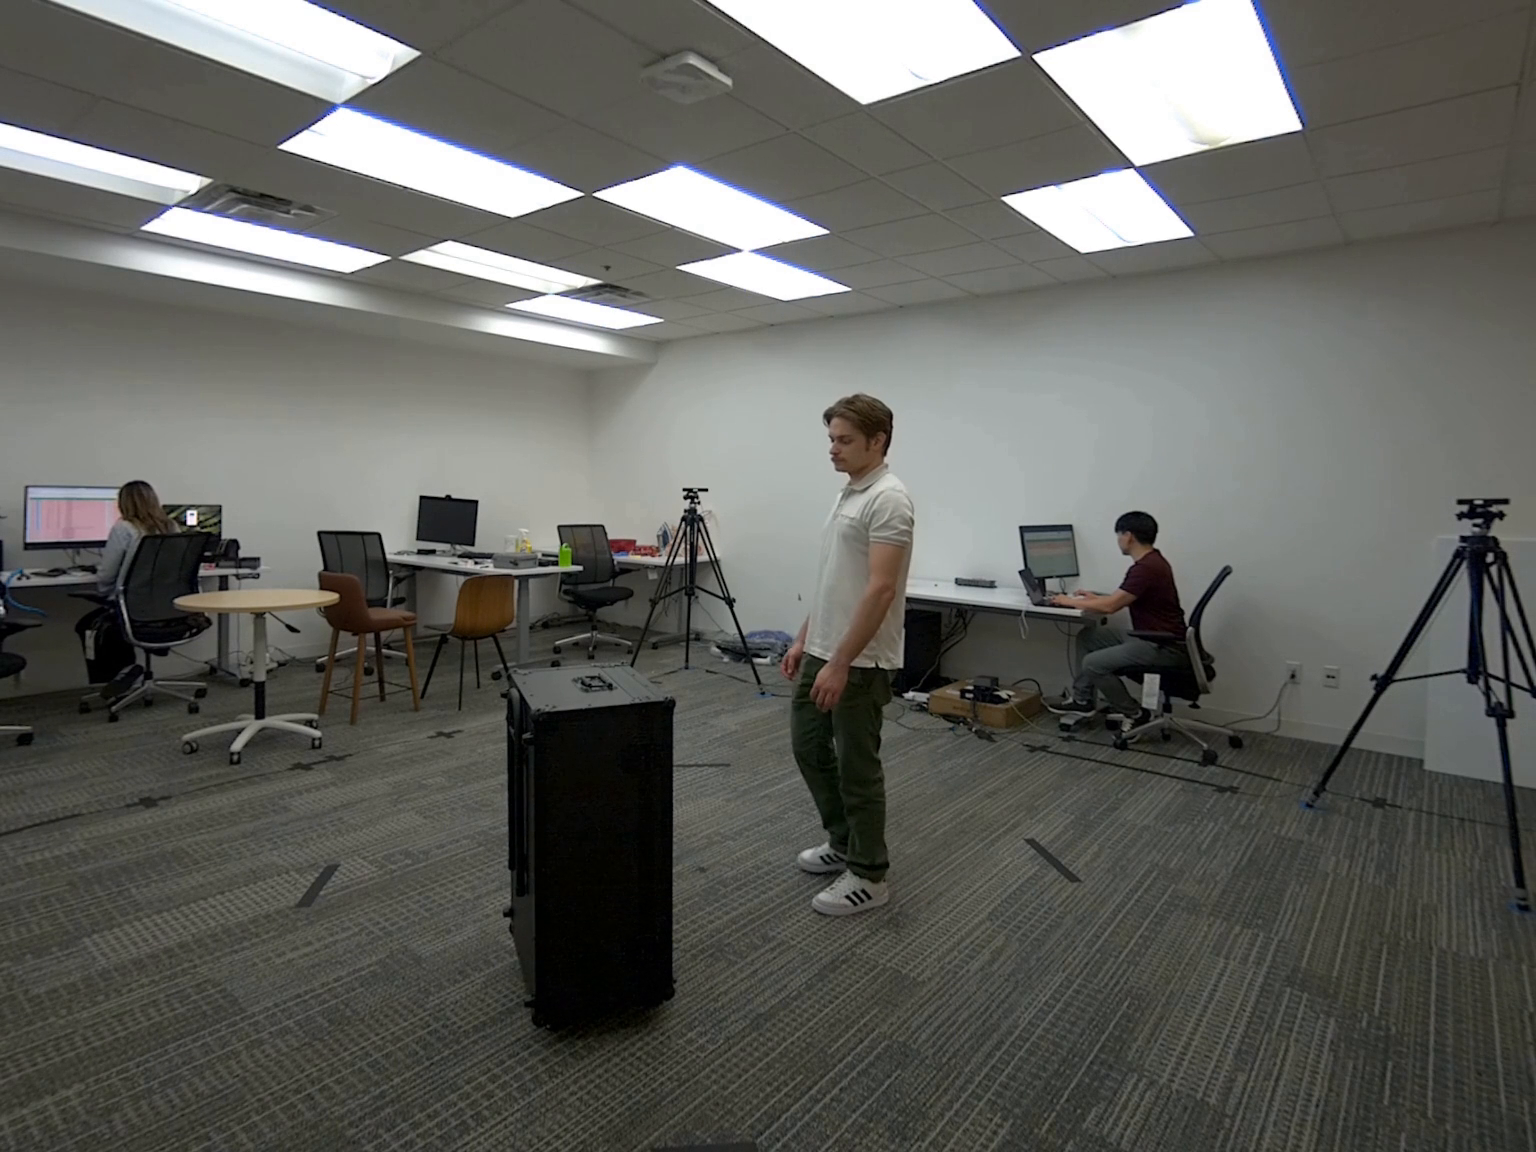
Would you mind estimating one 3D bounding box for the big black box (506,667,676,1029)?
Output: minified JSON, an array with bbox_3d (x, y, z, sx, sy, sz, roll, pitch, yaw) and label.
[{"bbox_3d":[-0.508,0.721,2.332,0.377,0.865,0.536,-1,4,-22],"label":"big black box"}]
